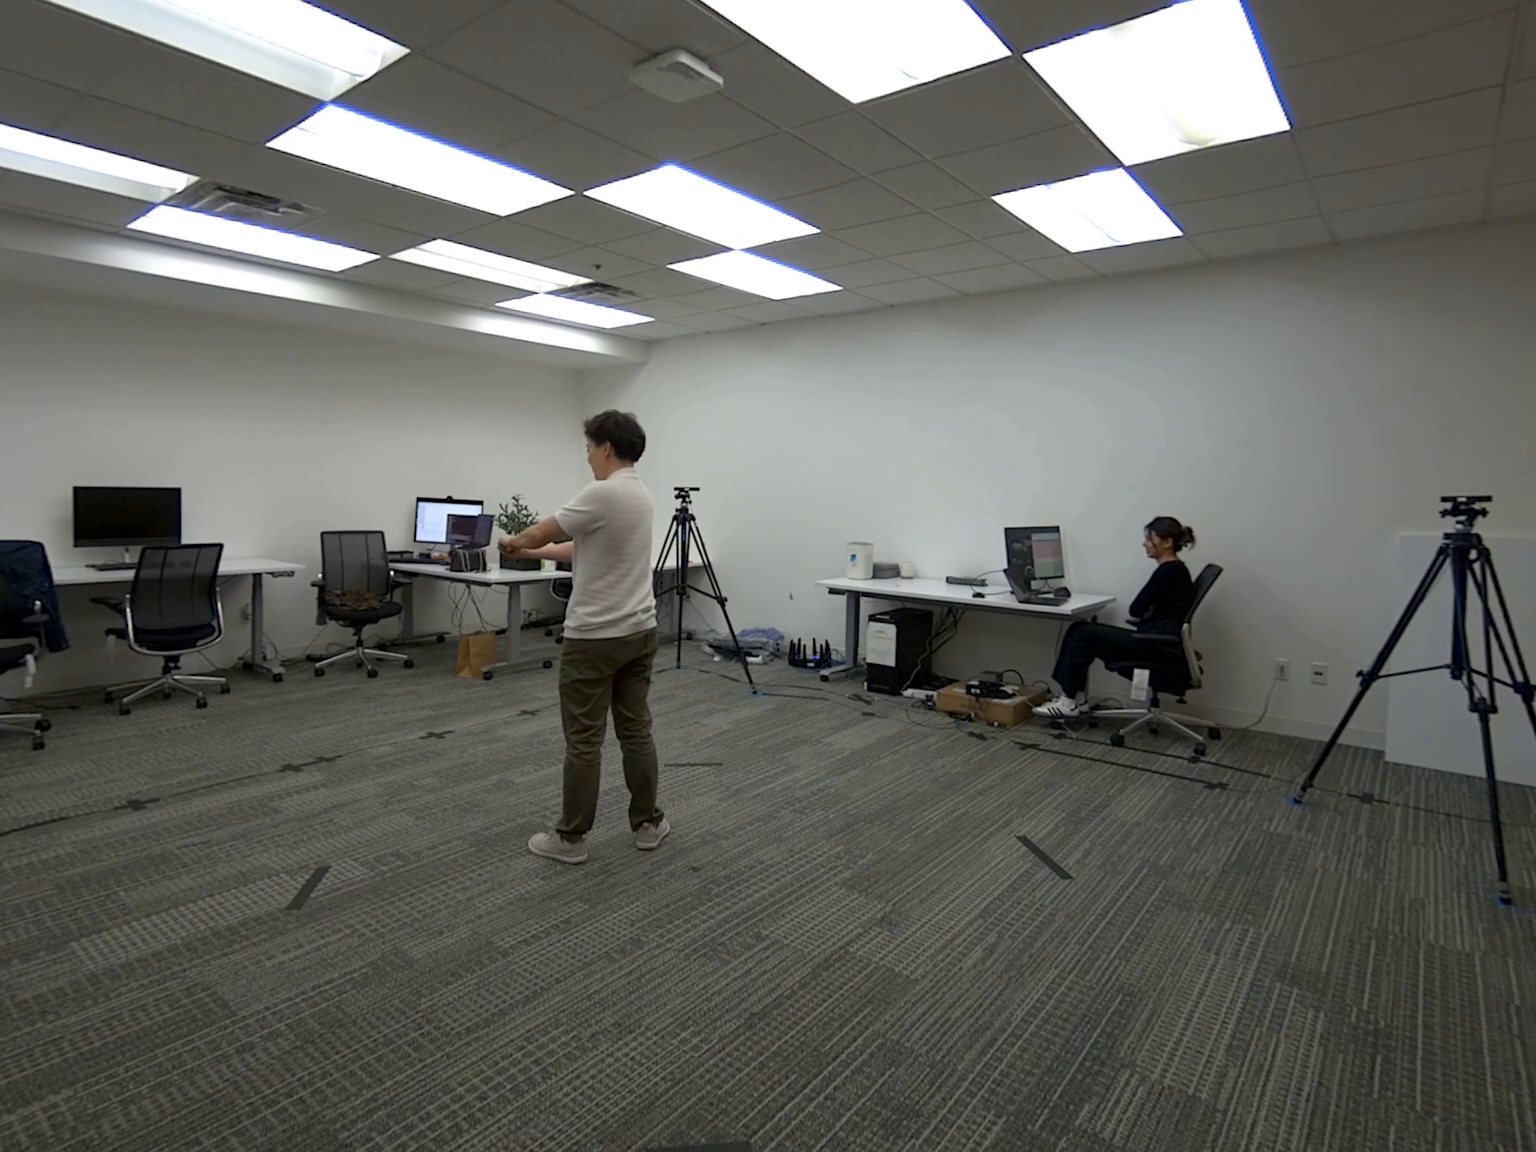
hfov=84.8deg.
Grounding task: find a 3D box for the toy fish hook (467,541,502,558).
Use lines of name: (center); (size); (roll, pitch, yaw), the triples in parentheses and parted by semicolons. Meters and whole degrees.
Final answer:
toy fish hook: (-1.091, -0.133, 3.560); (0.224, 0.048, 0.510); (-9, 5, -4)
